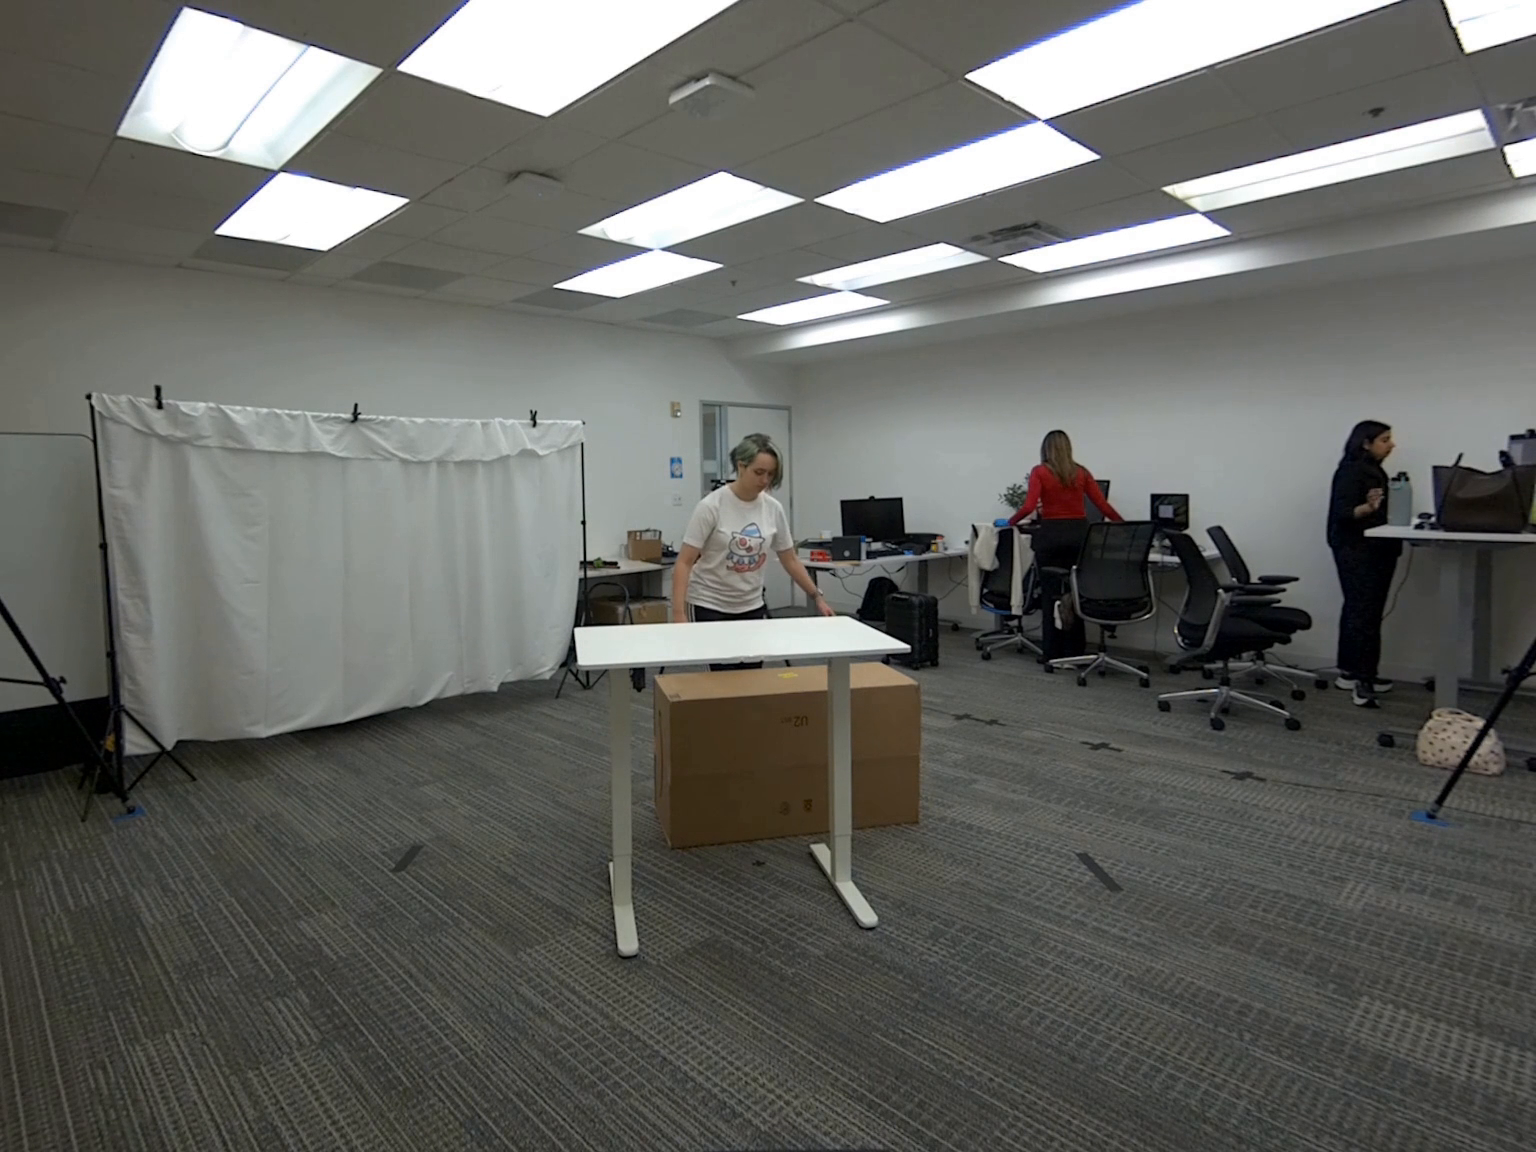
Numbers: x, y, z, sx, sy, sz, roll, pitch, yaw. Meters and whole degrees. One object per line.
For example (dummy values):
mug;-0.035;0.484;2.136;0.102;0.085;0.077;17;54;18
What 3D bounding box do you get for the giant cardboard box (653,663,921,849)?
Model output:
giant cardboard box;0.065;0.708;3.532;1.014;0.582;0.454;-2;5;-14
